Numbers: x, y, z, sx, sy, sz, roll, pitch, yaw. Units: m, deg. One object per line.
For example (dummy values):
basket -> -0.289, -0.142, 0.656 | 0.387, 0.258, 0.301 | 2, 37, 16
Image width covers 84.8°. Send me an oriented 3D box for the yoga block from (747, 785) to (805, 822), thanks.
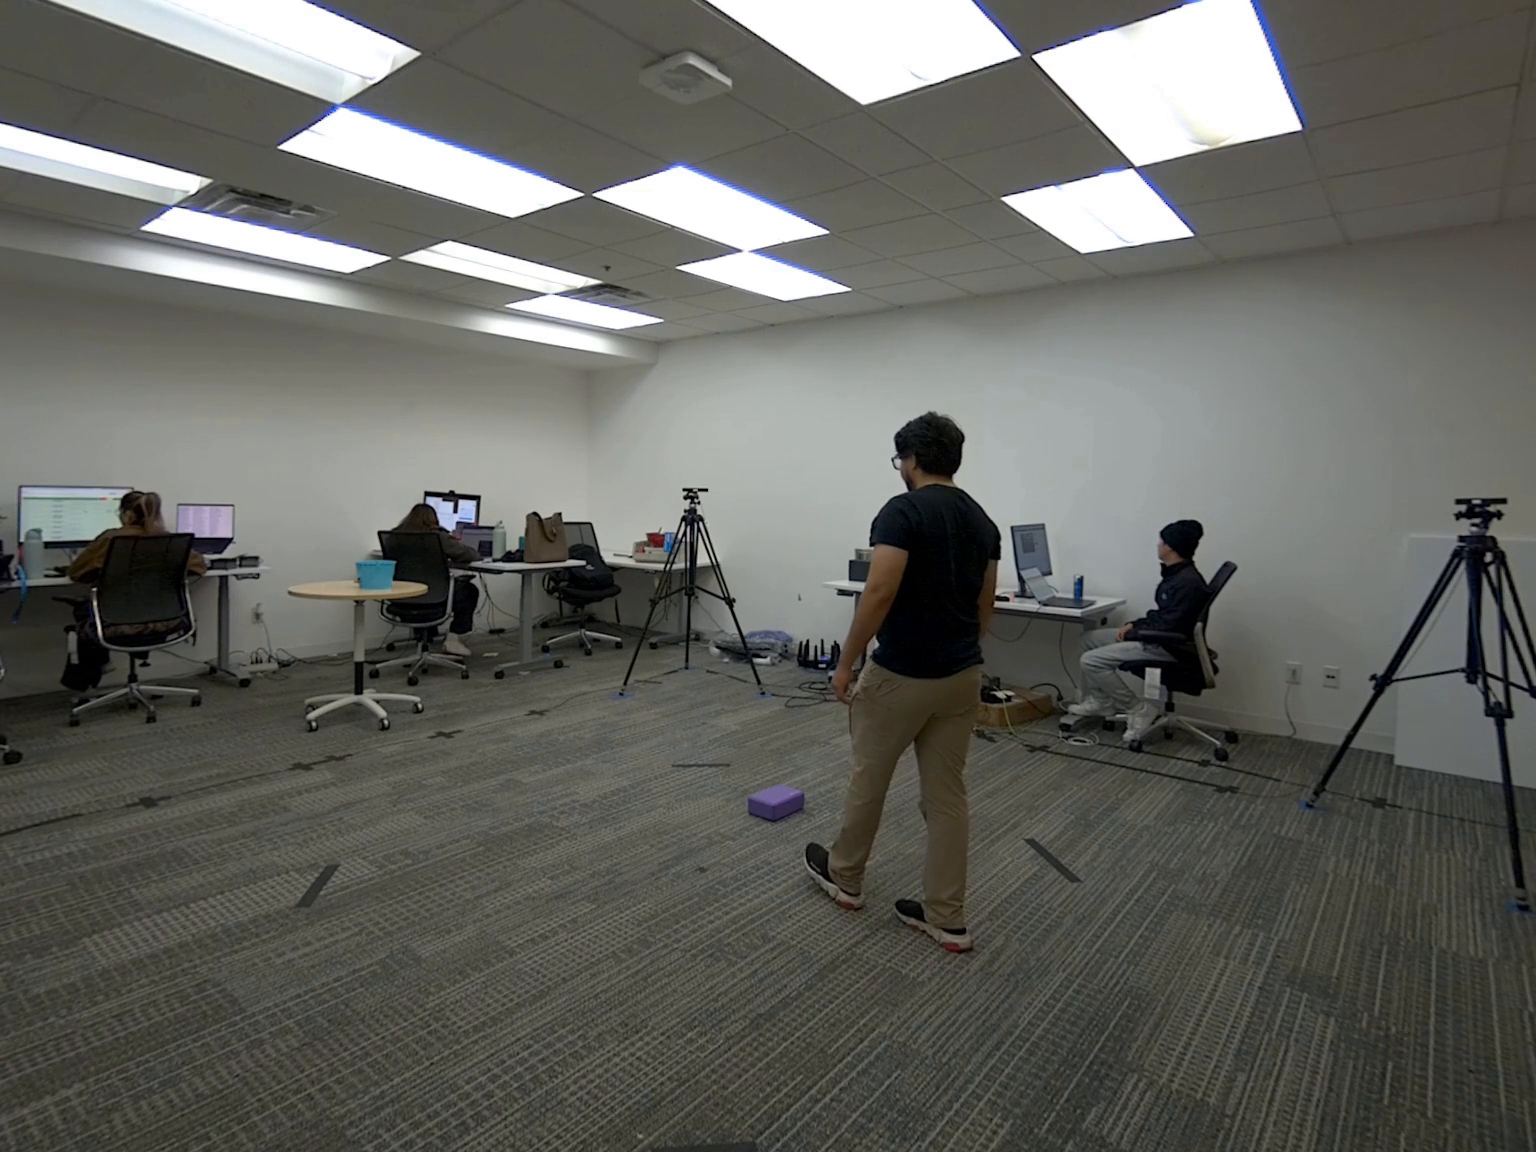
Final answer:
yoga block -> 0.028, 0.978, 3.693 | 0.154, 0.076, 0.222 | 5, 6, 39
